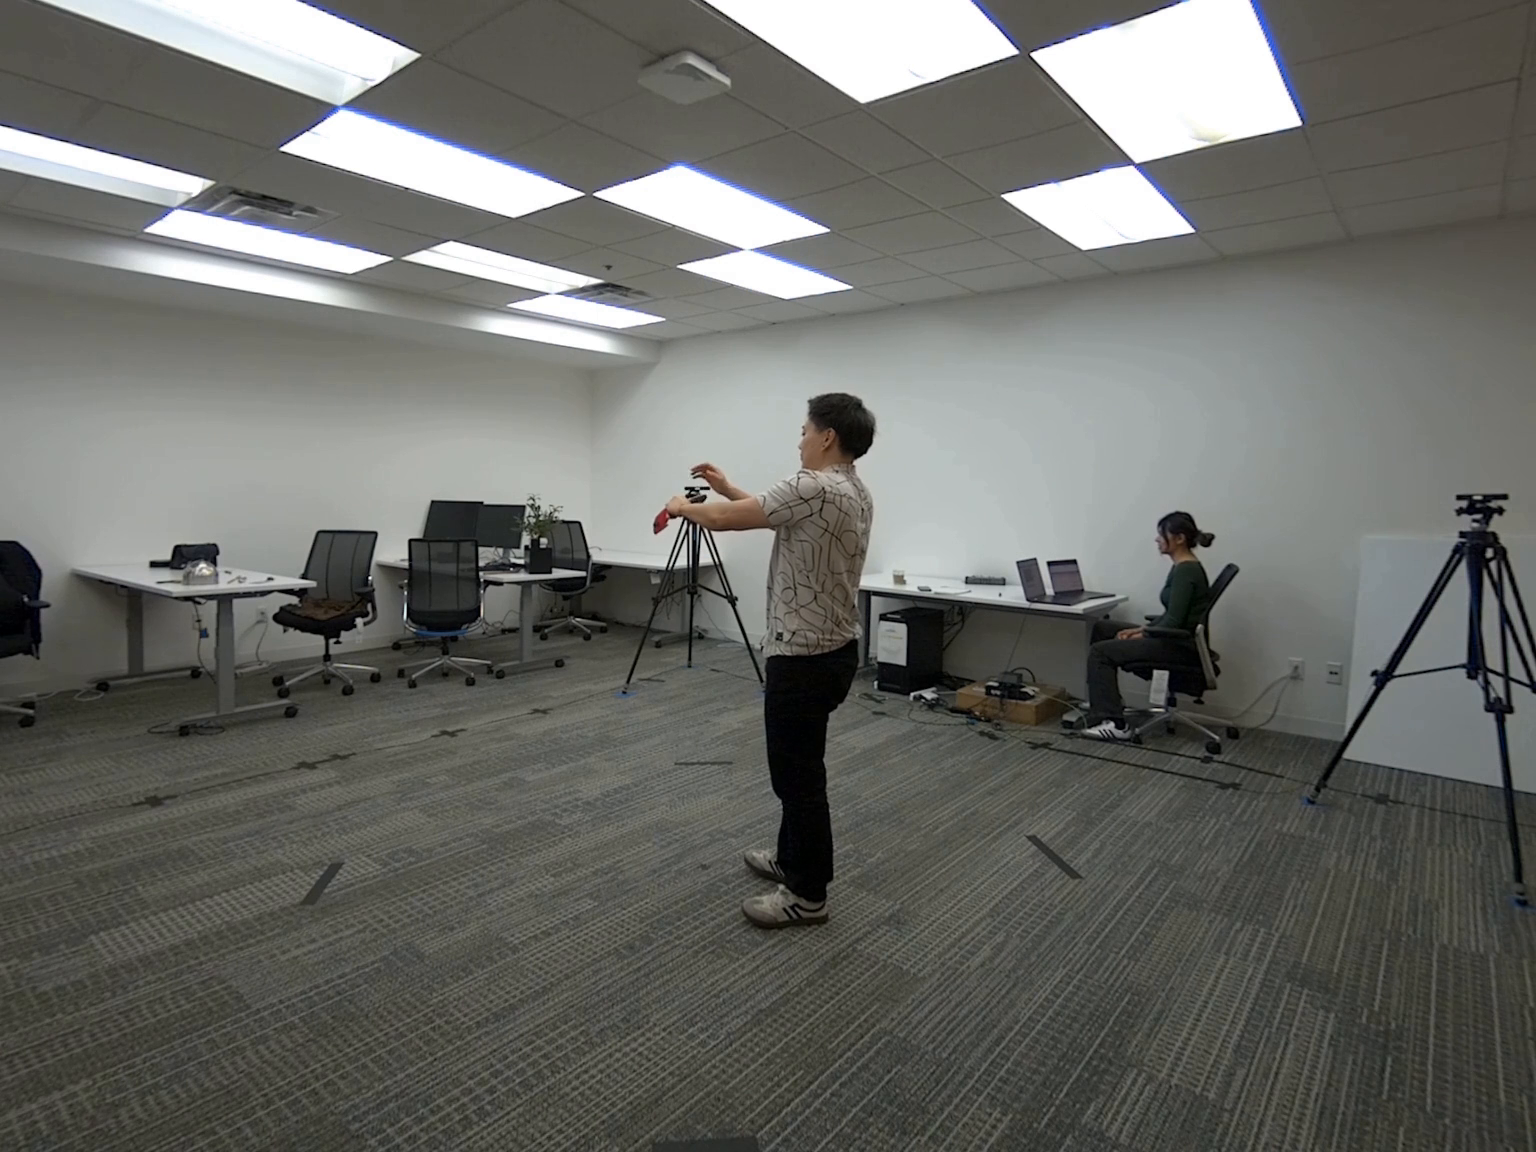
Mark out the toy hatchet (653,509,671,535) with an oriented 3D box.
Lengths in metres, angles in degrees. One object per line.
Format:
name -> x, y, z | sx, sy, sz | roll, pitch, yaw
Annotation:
toy hatchet -> -0.322, -0.214, 2.915 | 0.030, 0.130, 0.266 | 40, 31, 14
